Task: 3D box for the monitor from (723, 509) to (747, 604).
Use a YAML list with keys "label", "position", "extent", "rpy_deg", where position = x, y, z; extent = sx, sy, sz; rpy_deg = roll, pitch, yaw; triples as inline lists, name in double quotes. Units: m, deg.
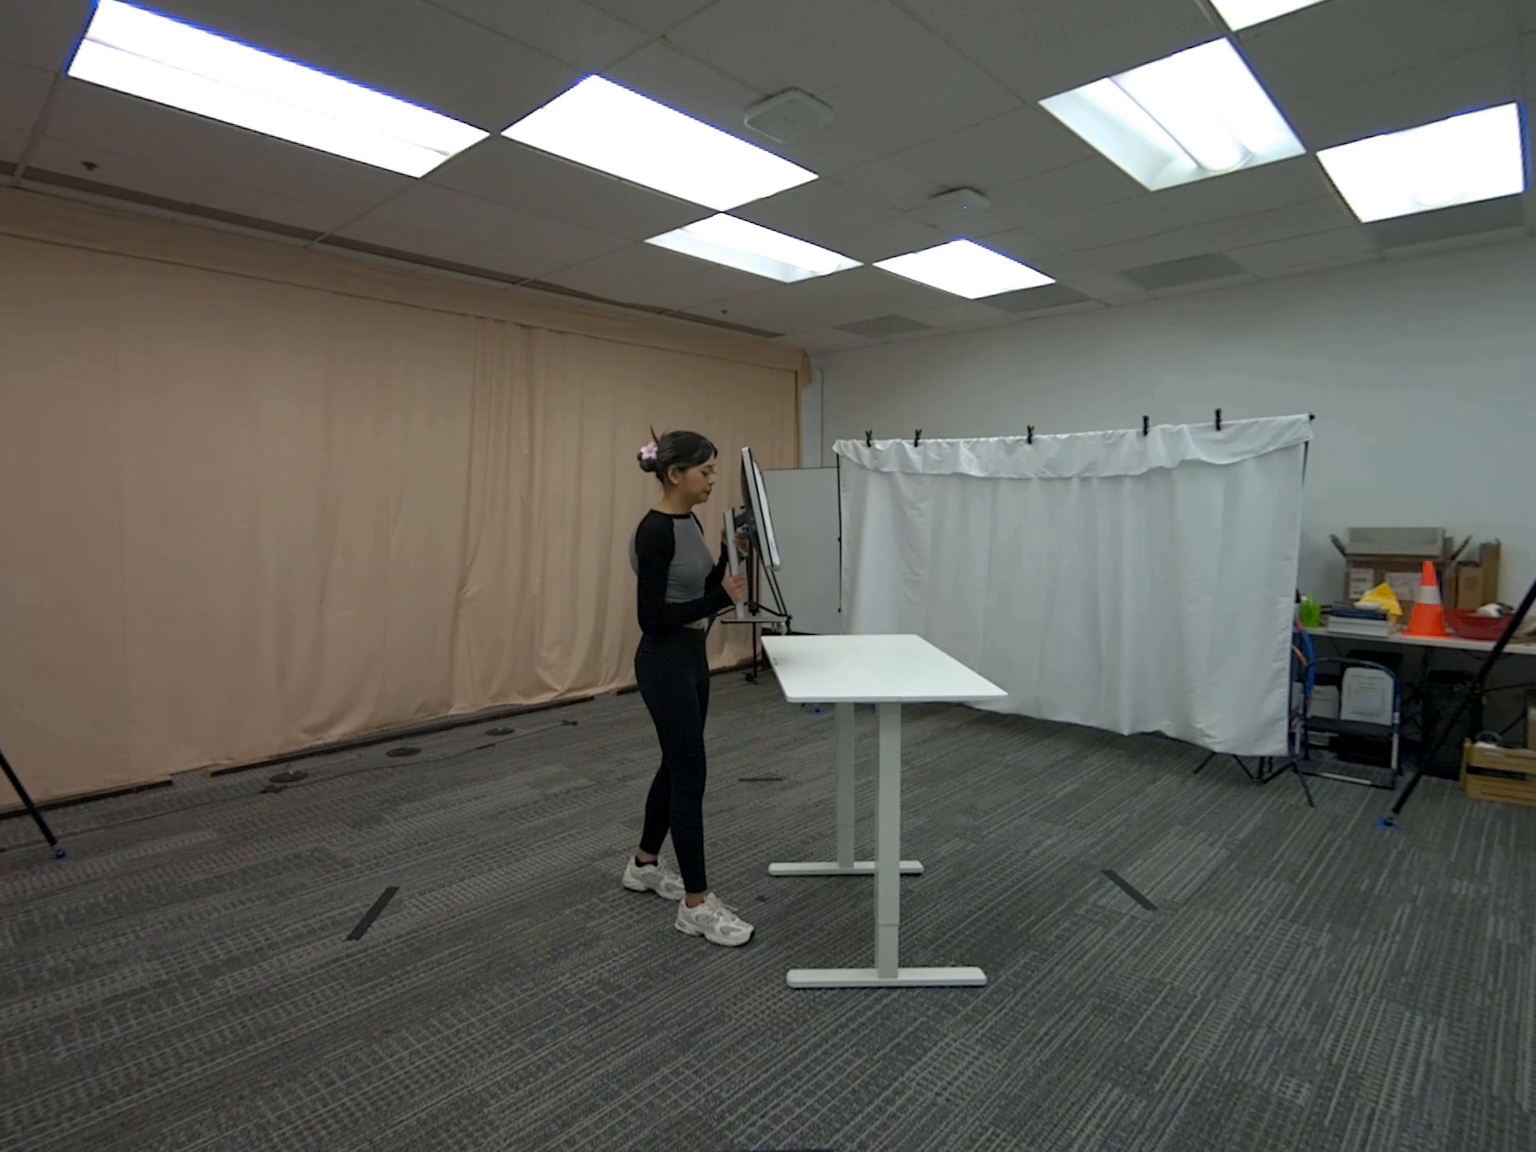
- label: "monitor"
  position: [-0.053, -0.113, 2.740]
  extent: [0.188, 0.523, 0.536]
  rpy_deg: [0, -1, 3]
